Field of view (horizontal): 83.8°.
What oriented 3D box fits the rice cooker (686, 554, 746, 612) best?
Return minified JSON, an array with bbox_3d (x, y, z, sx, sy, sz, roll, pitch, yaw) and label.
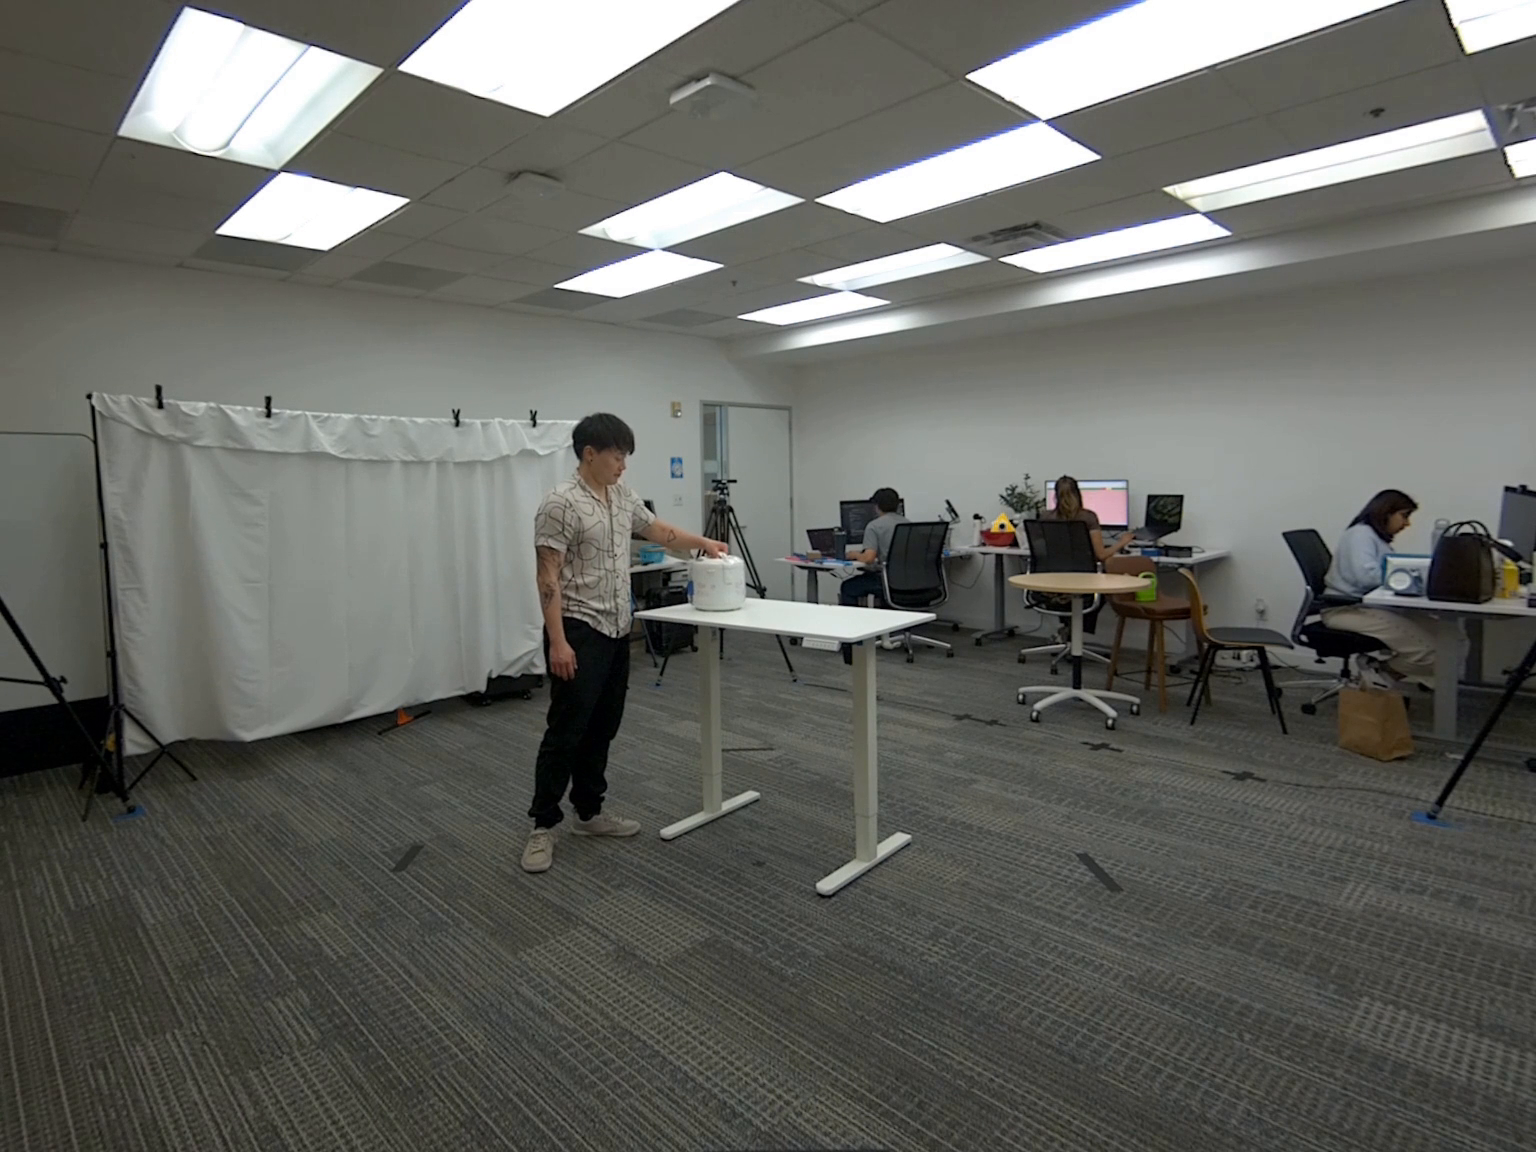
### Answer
[{"bbox_3d":[-0.197,0.015,3.428,0.213,0.231,0.226,-4,7,-24],"label":"rice cooker"}]
